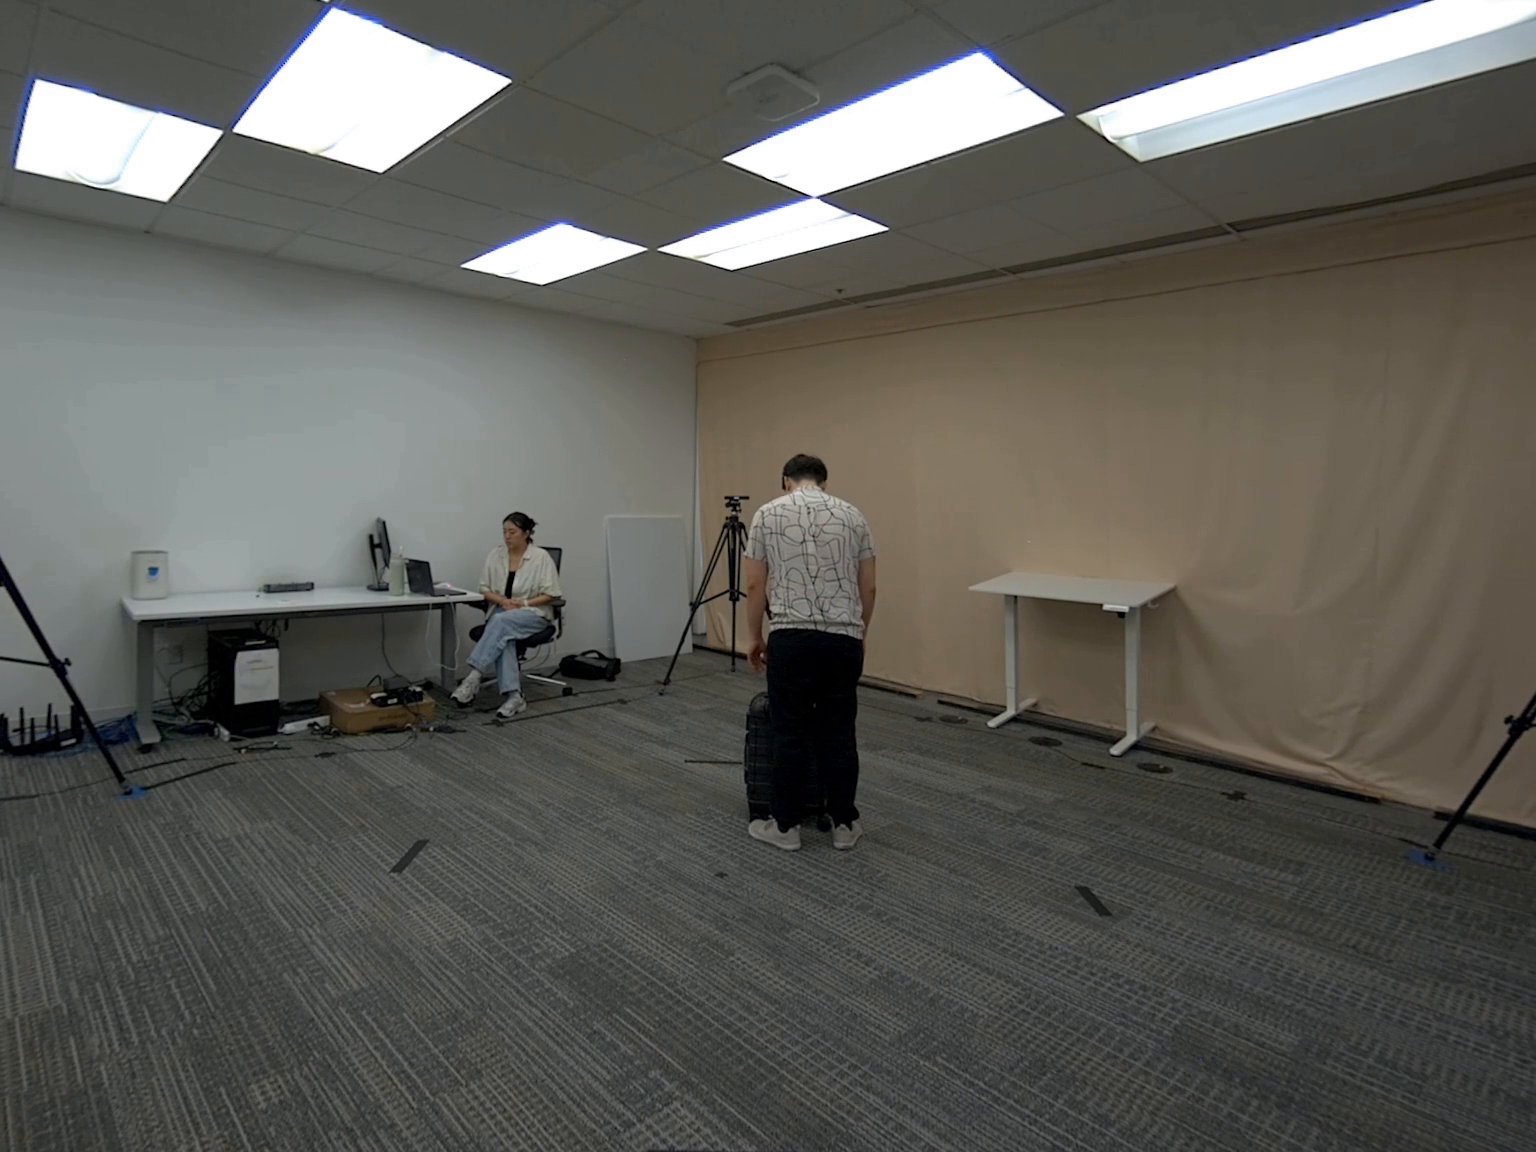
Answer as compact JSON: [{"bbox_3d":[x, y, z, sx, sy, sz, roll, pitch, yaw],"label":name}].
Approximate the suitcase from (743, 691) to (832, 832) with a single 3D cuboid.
[{"bbox_3d":[0.082,0.785,3.683,0.378,0.548,0.247,1,2,7],"label":"suitcase"}]
